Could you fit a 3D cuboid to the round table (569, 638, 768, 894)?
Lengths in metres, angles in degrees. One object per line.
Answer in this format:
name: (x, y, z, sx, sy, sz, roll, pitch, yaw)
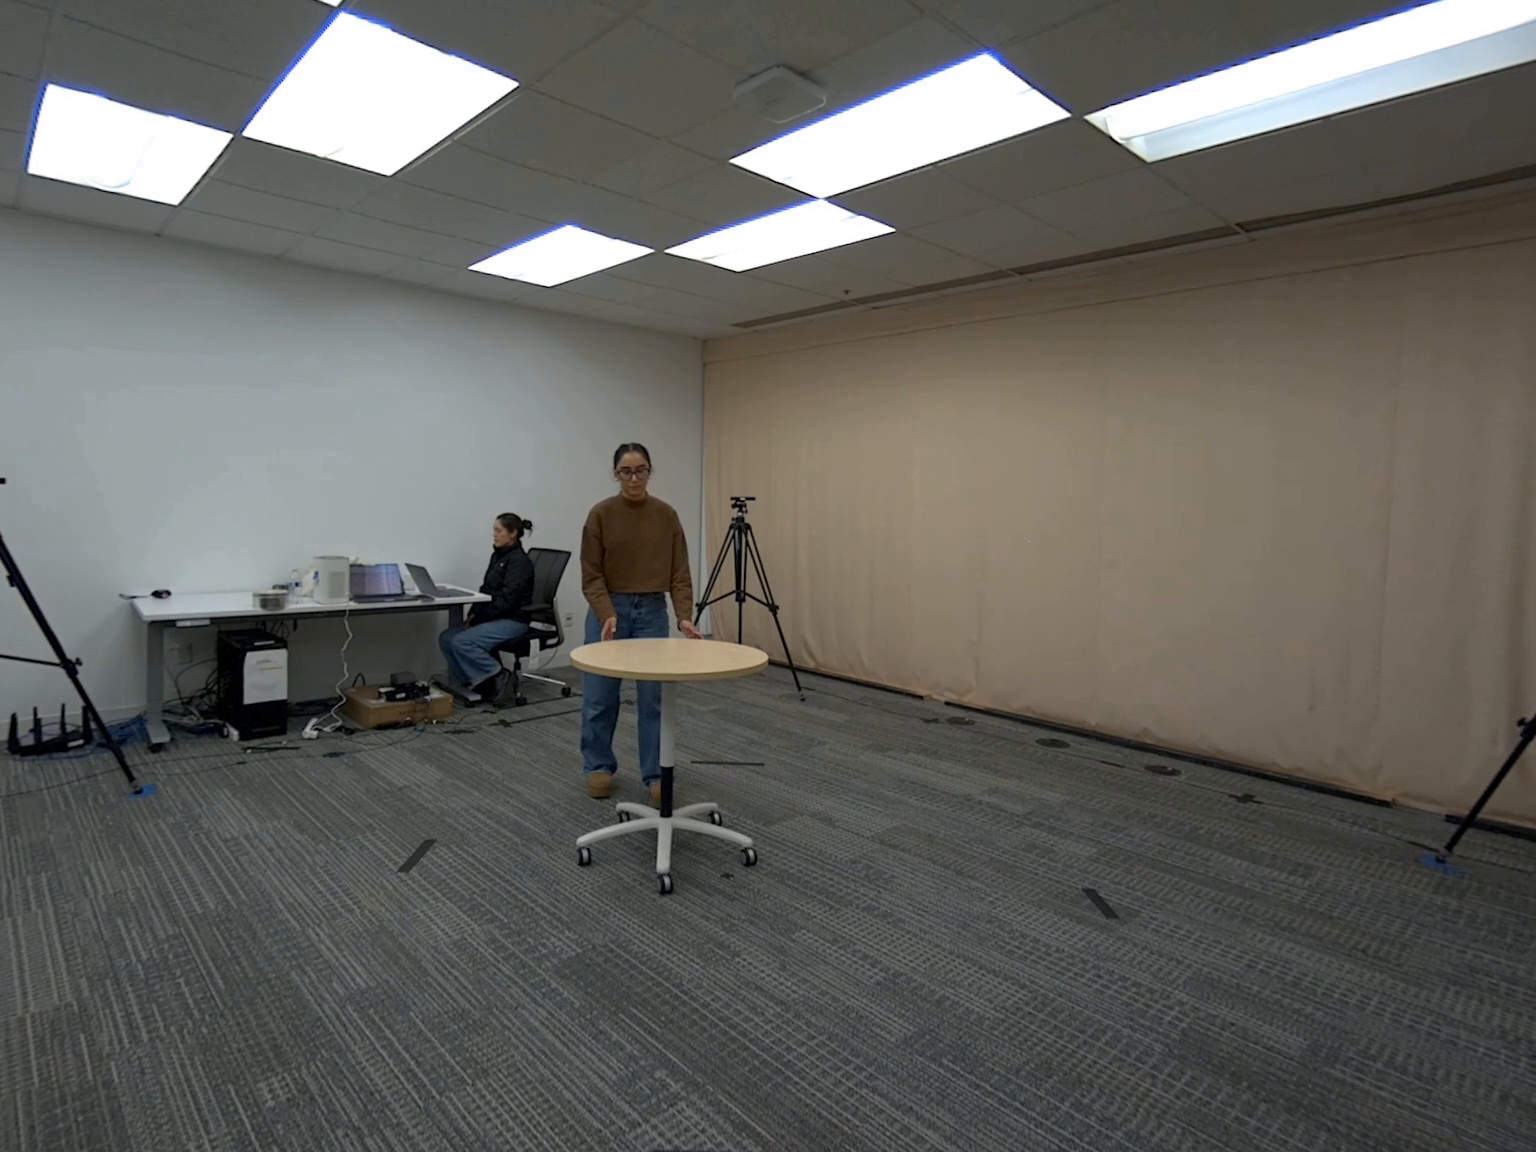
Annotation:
round table: (-0.401, 0.697, 3.290, 0.763, 0.792, 0.766, 1, 3, -1)
